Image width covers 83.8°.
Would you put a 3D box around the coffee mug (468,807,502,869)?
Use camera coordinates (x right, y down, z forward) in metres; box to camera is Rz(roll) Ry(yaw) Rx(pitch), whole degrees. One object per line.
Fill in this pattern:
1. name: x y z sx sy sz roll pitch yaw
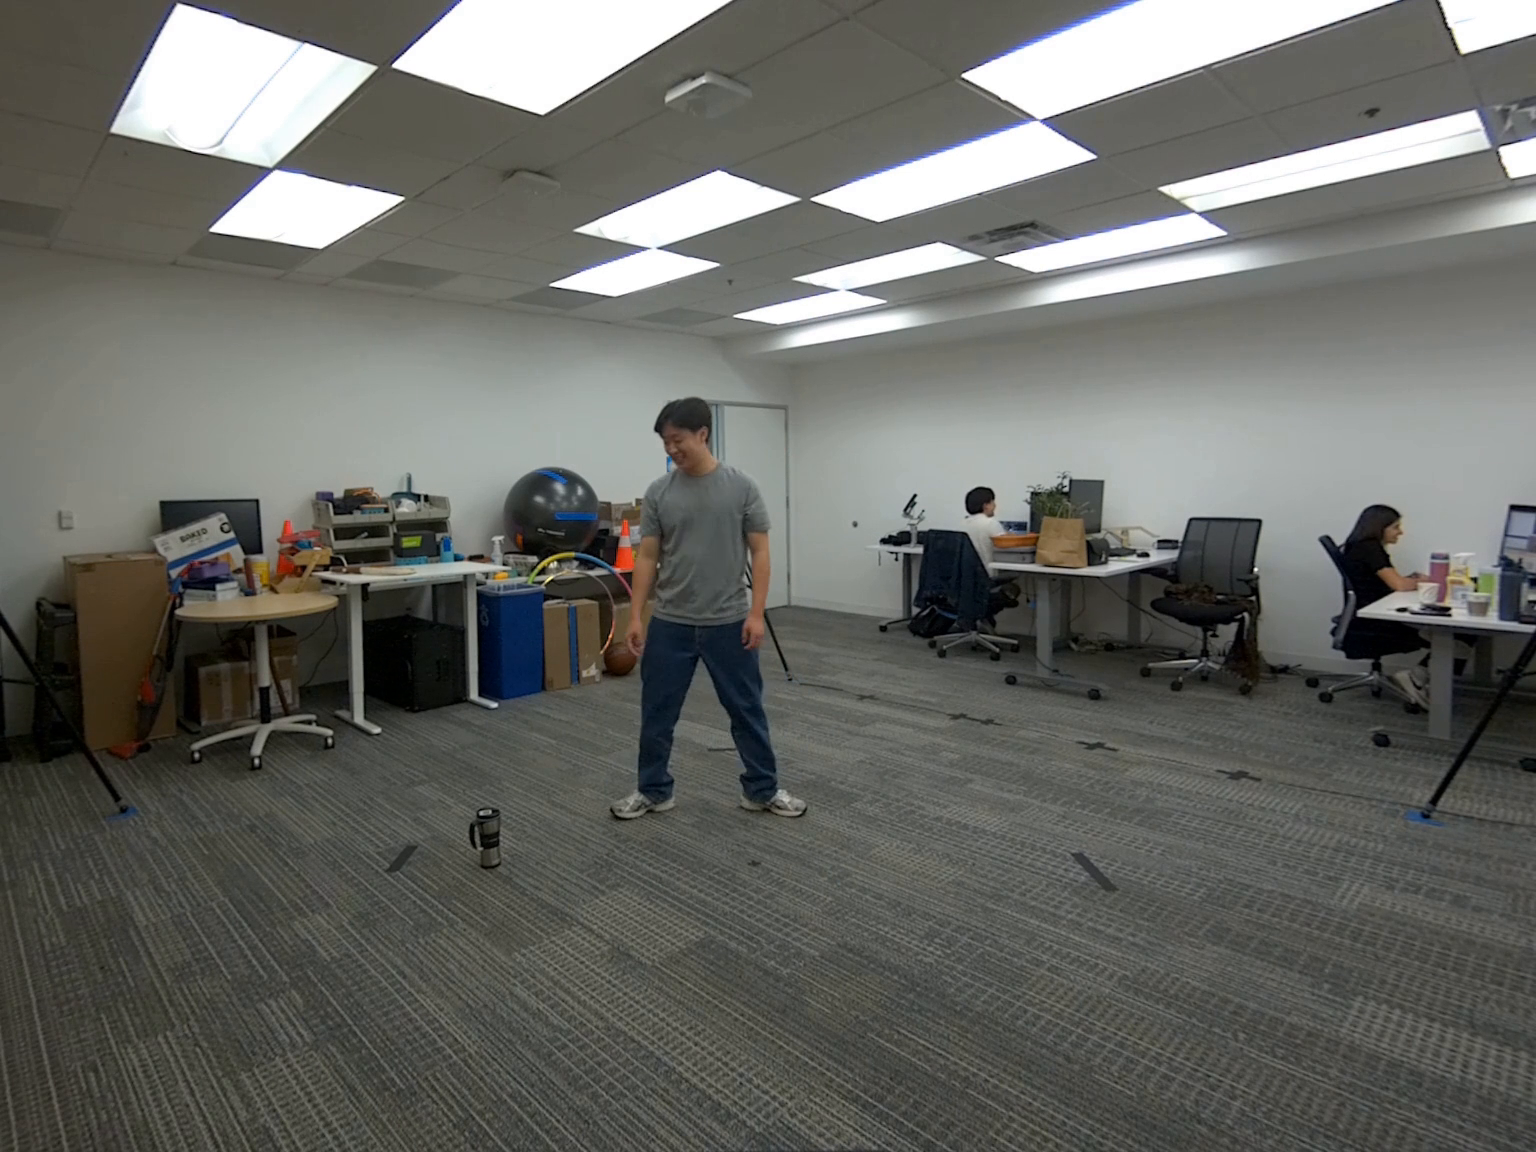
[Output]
1. coffee mug: -1.036 0.964 3.122 0.090 0.202 0.118 5 5 39
